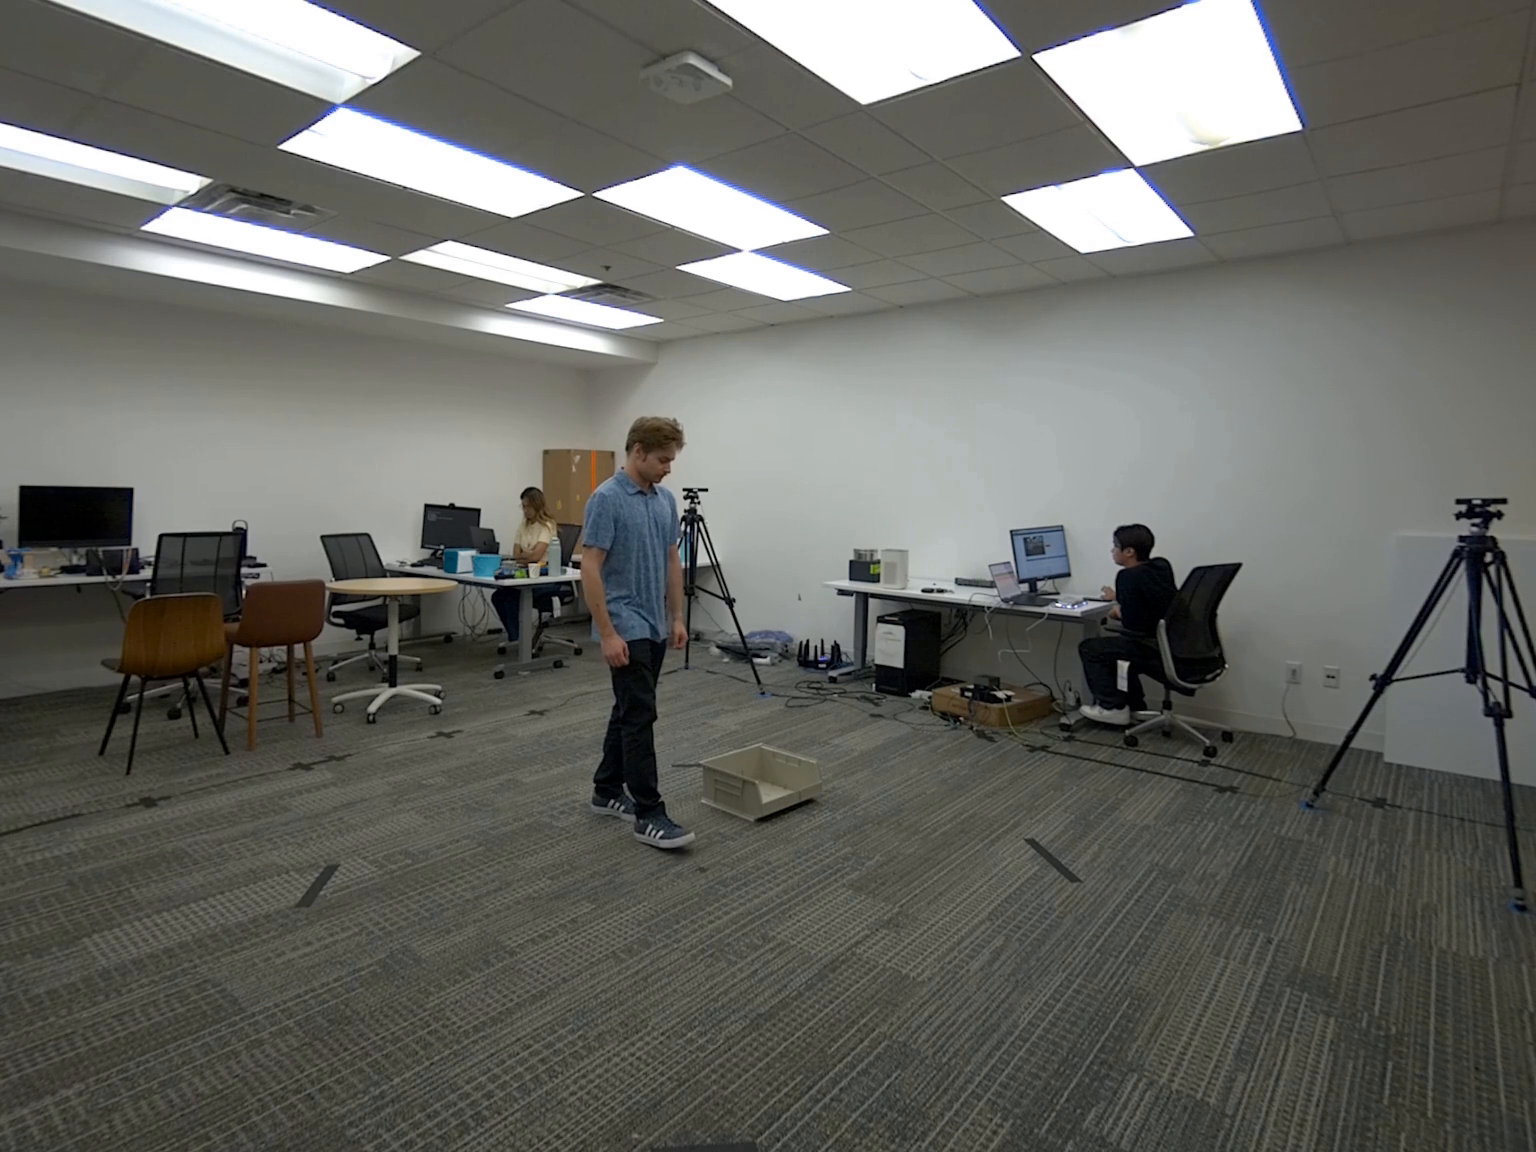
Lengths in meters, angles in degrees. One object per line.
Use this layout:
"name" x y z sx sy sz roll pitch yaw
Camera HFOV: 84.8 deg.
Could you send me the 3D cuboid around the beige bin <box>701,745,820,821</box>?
"beige bin" -0.036 0.918 3.803 0.390 0.188 0.410 4 7 42
